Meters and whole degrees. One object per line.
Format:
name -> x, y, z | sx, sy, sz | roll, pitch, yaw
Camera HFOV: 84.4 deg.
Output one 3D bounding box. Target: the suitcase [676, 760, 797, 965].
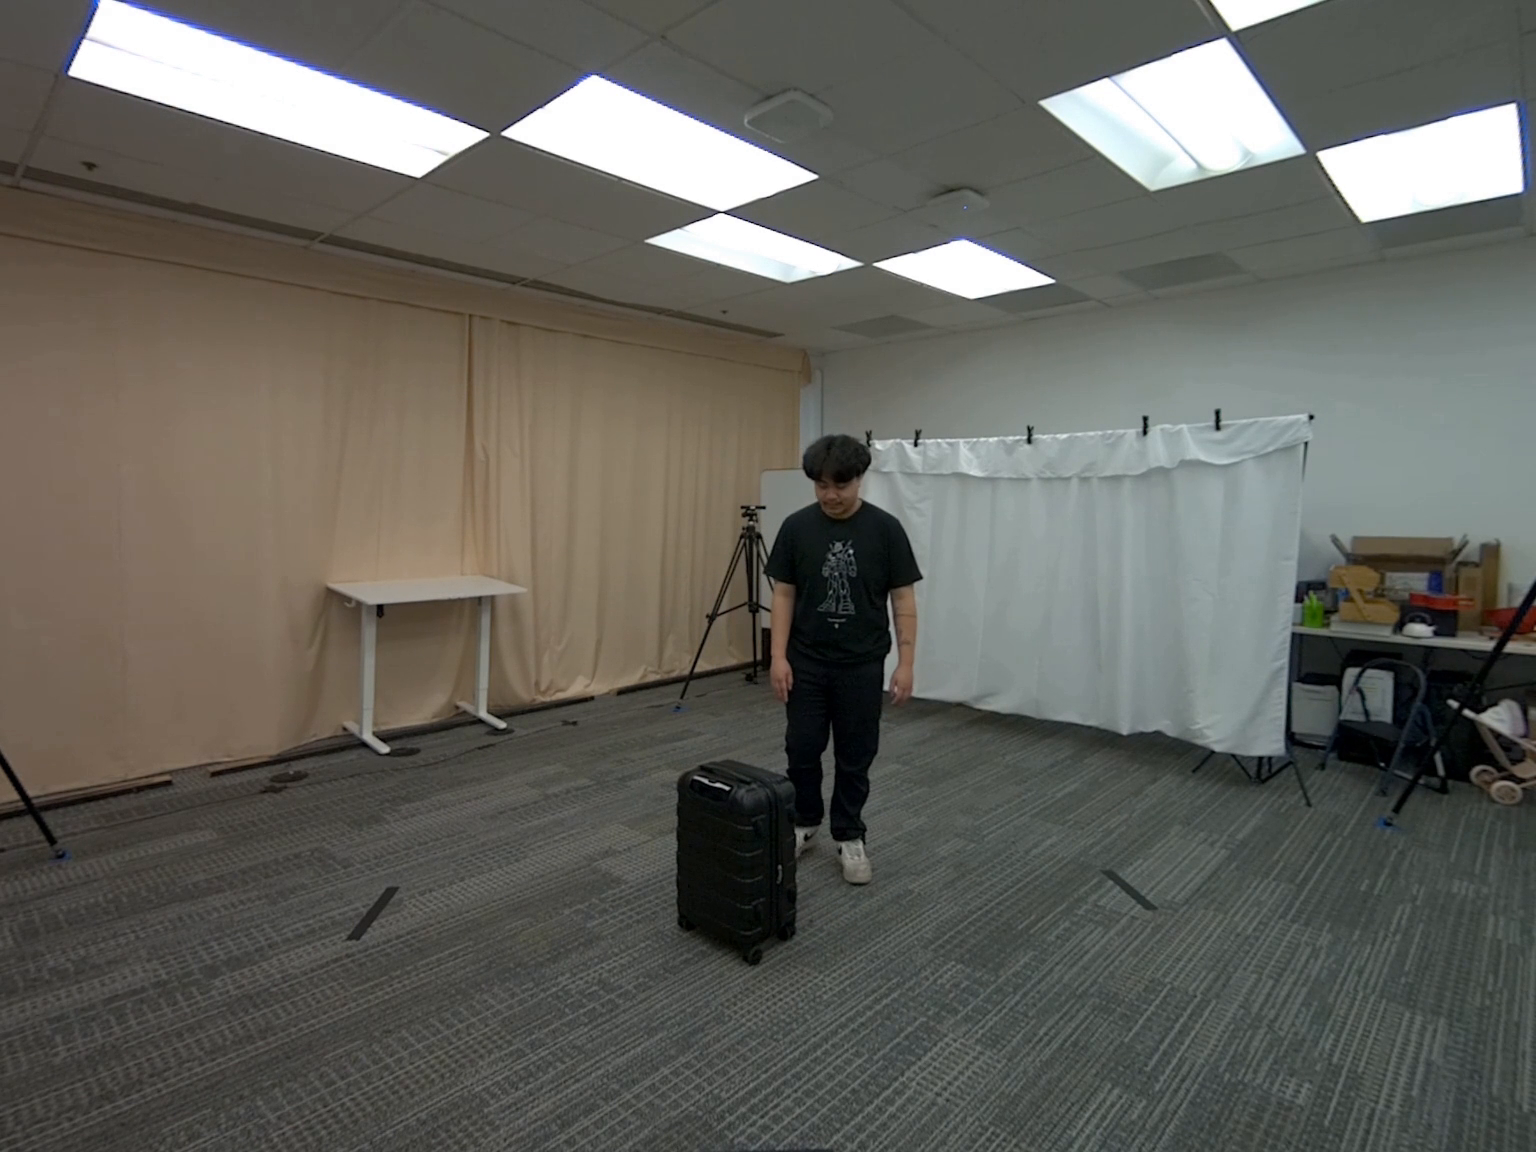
suitcase -> -0.103, 0.889, 2.719 | 0.388, 0.548, 0.241 | 3, 5, 44
